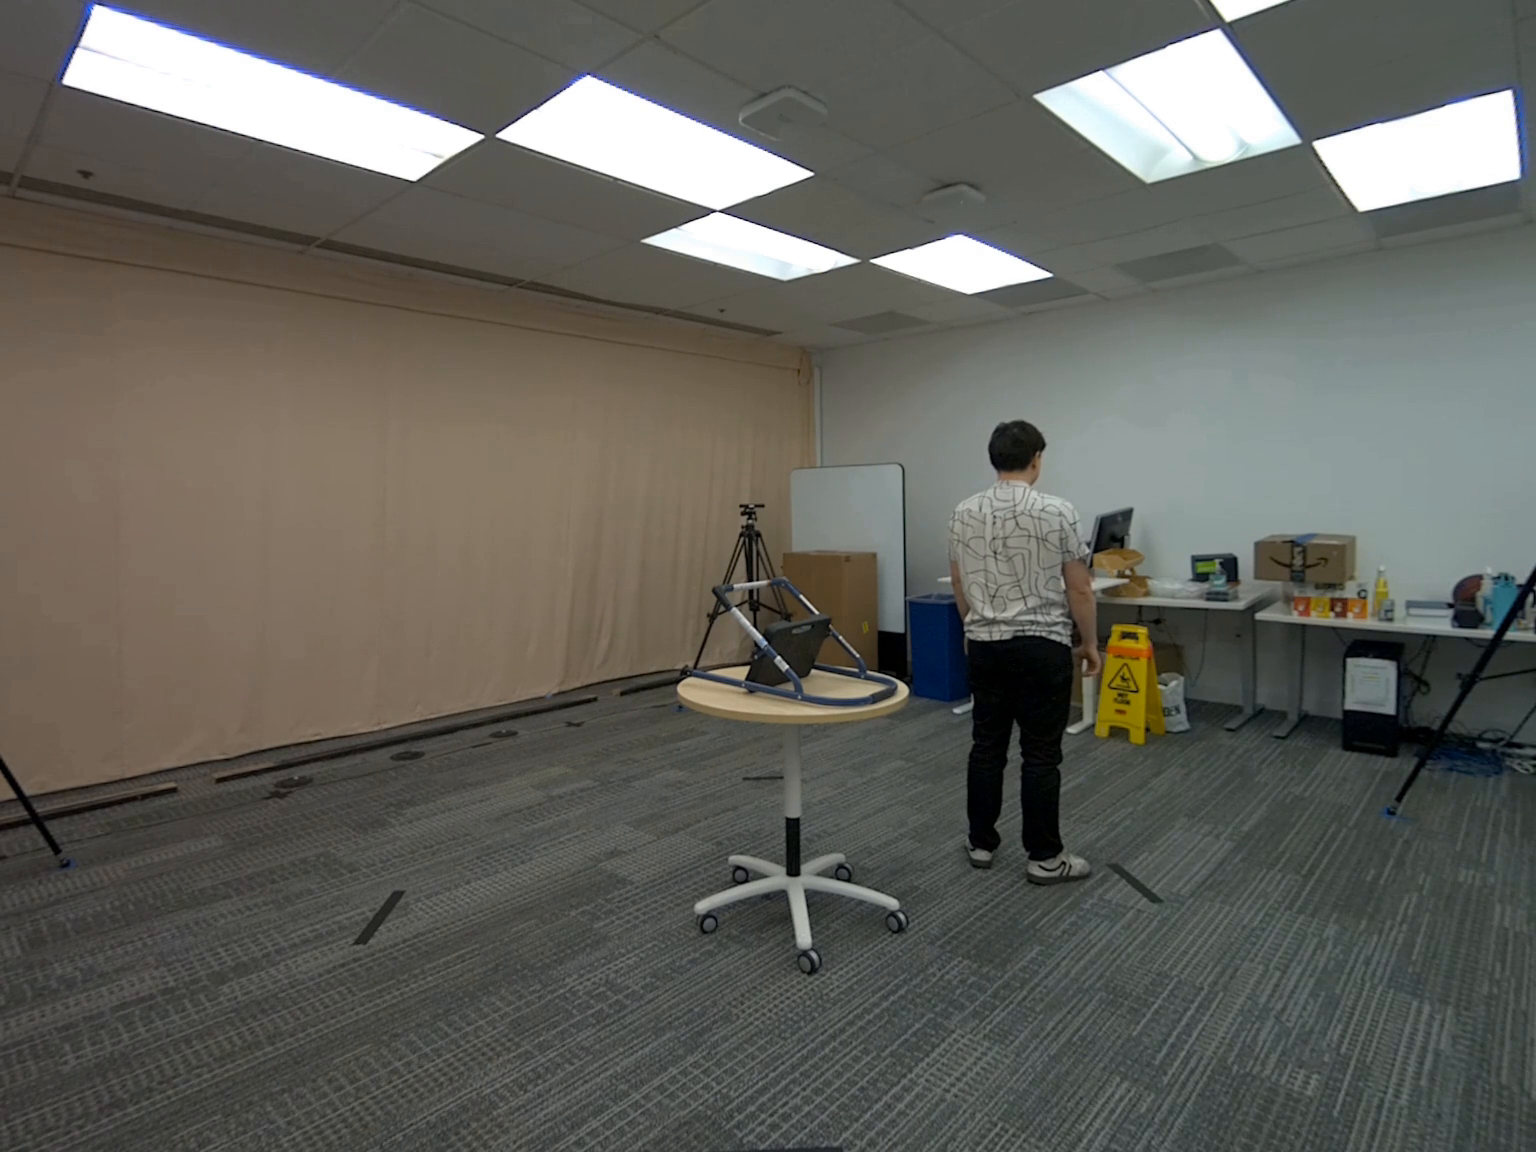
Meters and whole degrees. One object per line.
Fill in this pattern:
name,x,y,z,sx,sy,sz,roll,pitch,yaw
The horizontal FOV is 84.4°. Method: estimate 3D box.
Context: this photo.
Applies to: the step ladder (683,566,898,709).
step ladder,0.111,0.306,2.787,0.627,0.348,0.418,31,22,31
